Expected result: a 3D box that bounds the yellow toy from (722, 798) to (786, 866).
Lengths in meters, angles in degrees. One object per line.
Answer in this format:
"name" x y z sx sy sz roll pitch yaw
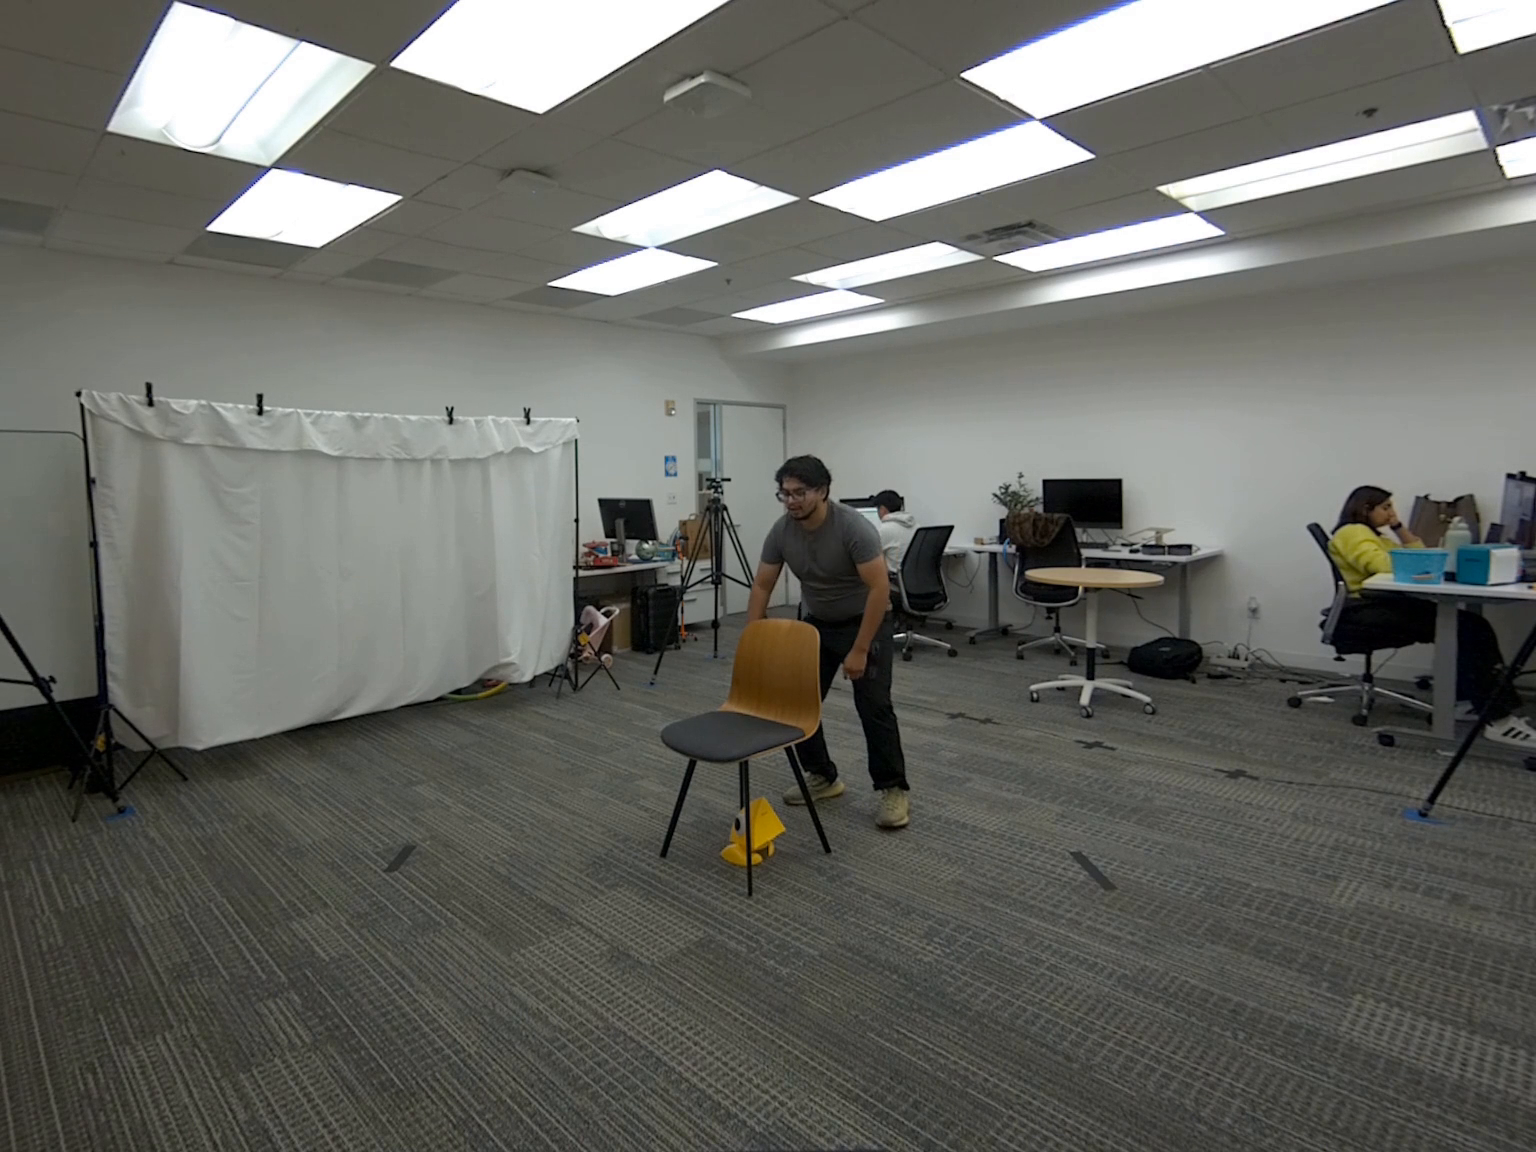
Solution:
"yellow toy" -0.059 0.919 3.174 0.199 0.230 0.200 3 6 35
